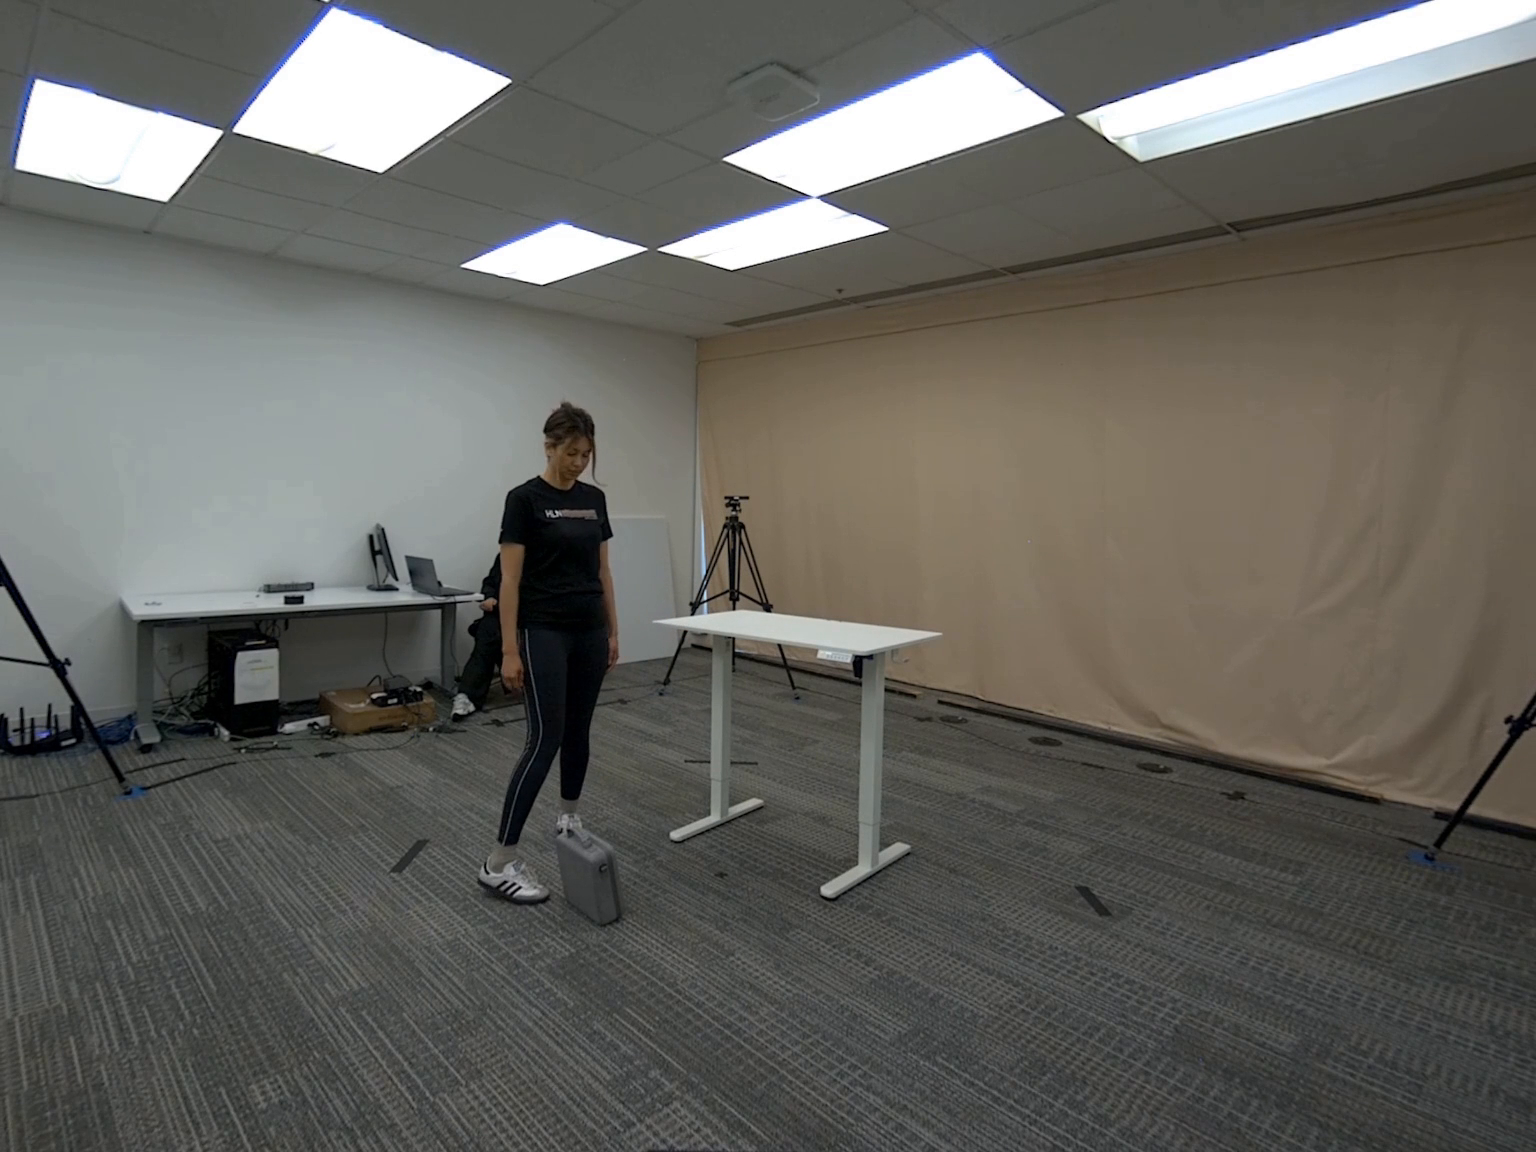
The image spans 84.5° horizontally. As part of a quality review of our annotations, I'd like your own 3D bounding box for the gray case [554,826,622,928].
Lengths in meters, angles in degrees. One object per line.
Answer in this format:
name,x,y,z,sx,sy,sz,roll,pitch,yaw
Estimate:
gray case,-0.600,0.992,2.797,0.102,0.258,0.263,-14,13,-38
